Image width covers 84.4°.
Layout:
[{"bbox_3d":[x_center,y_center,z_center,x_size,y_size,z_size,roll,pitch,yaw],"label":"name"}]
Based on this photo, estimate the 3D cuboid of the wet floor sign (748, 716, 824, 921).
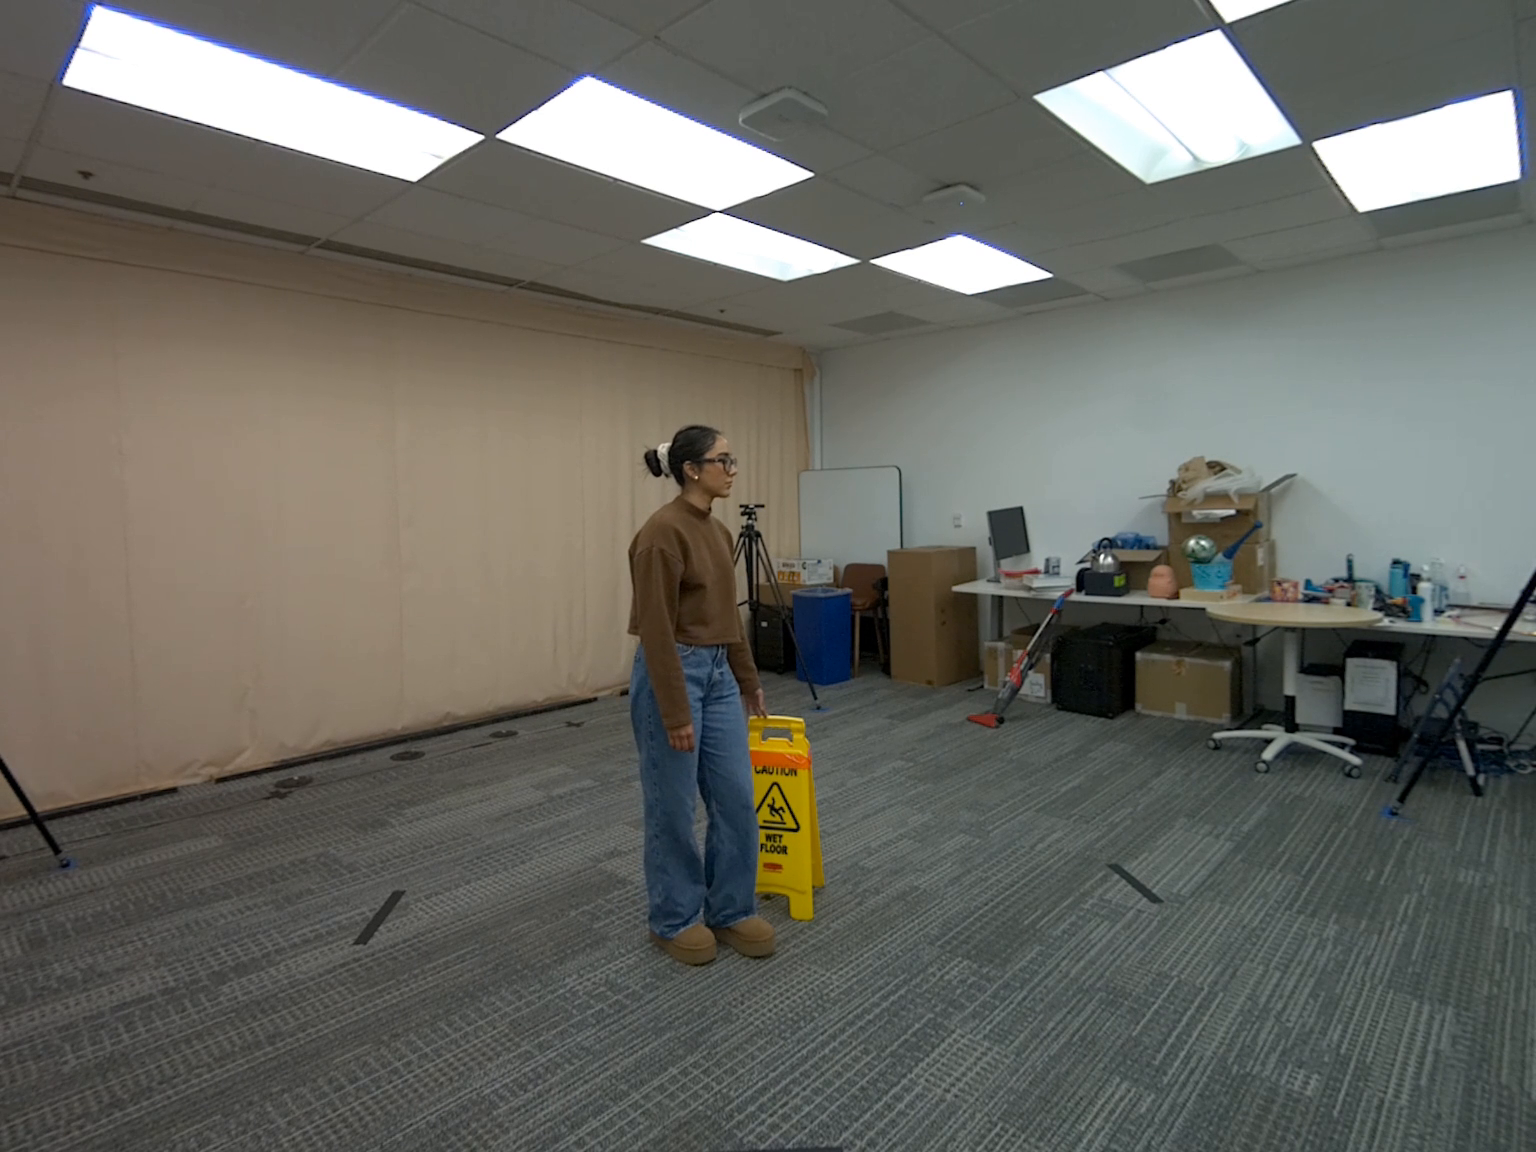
[{"bbox_3d":[0.043,0.818,2.964,0.287,0.645,0.285,1,3,14],"label":"wet floor sign"}]
